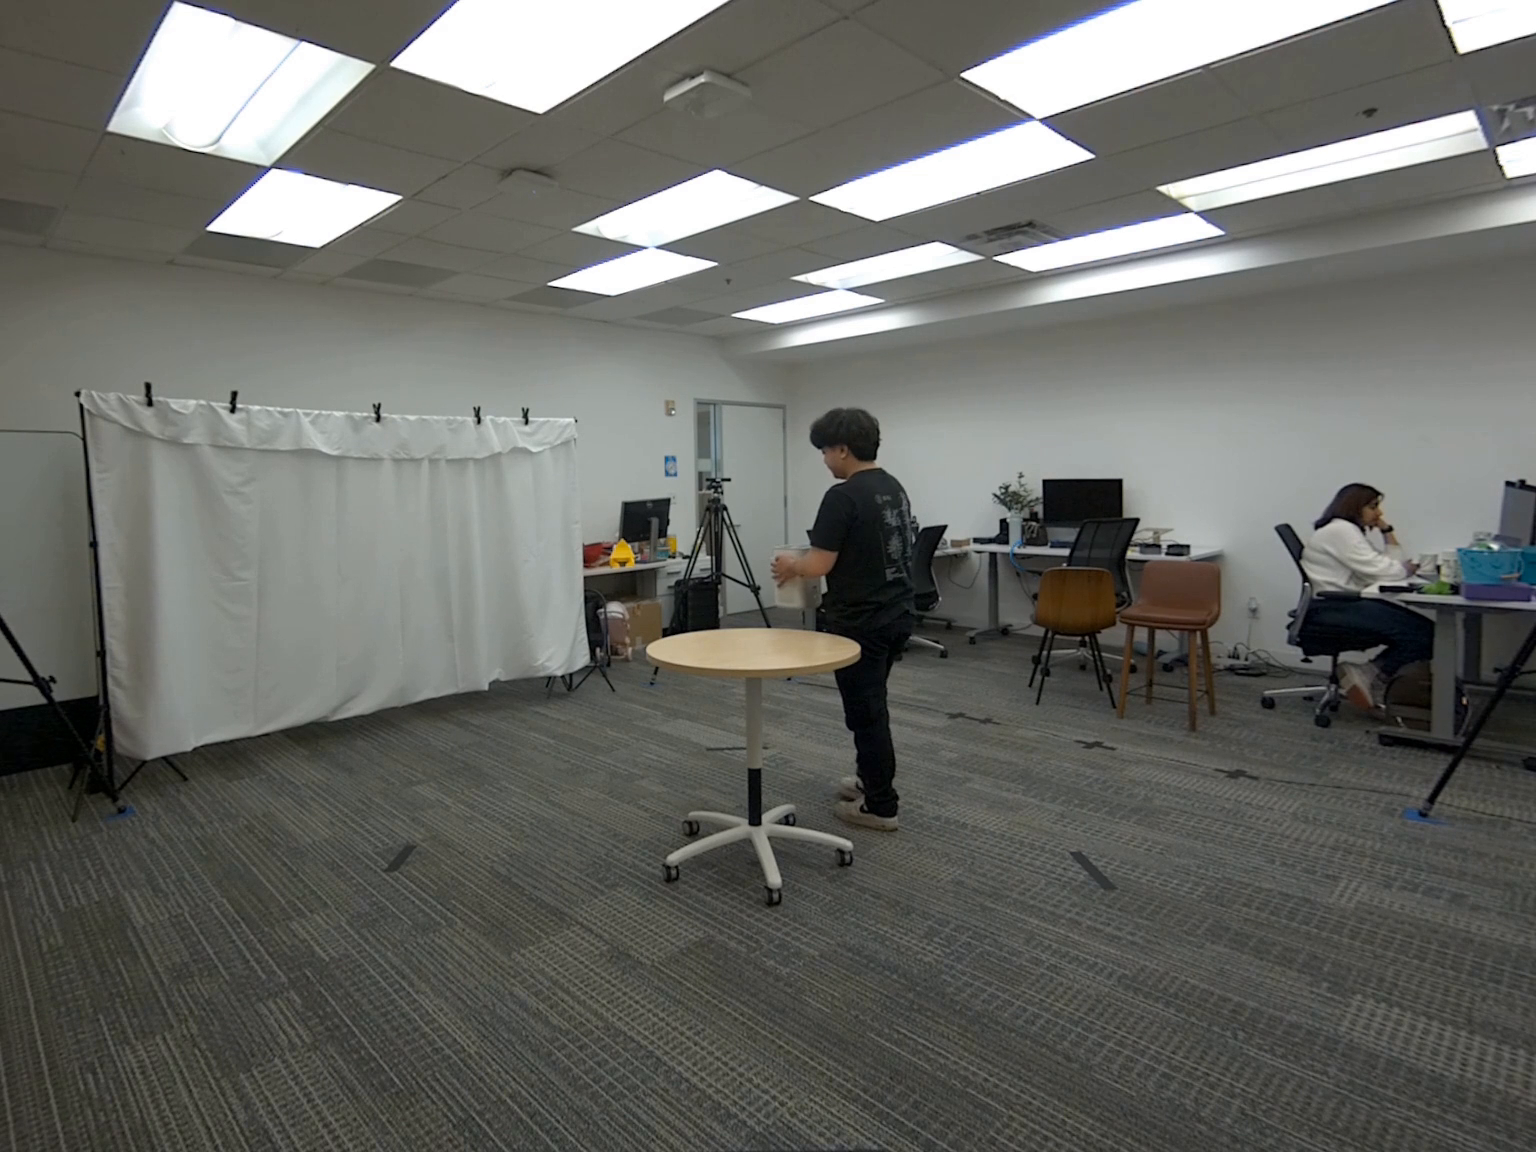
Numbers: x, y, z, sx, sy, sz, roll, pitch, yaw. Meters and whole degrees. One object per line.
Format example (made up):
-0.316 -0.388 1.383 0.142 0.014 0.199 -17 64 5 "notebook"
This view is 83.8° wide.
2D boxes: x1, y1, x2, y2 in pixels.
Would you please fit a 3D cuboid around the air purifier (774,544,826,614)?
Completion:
0.150 0.006 3.639 0.177 0.264 0.166 4 7 44 "air purifier"
